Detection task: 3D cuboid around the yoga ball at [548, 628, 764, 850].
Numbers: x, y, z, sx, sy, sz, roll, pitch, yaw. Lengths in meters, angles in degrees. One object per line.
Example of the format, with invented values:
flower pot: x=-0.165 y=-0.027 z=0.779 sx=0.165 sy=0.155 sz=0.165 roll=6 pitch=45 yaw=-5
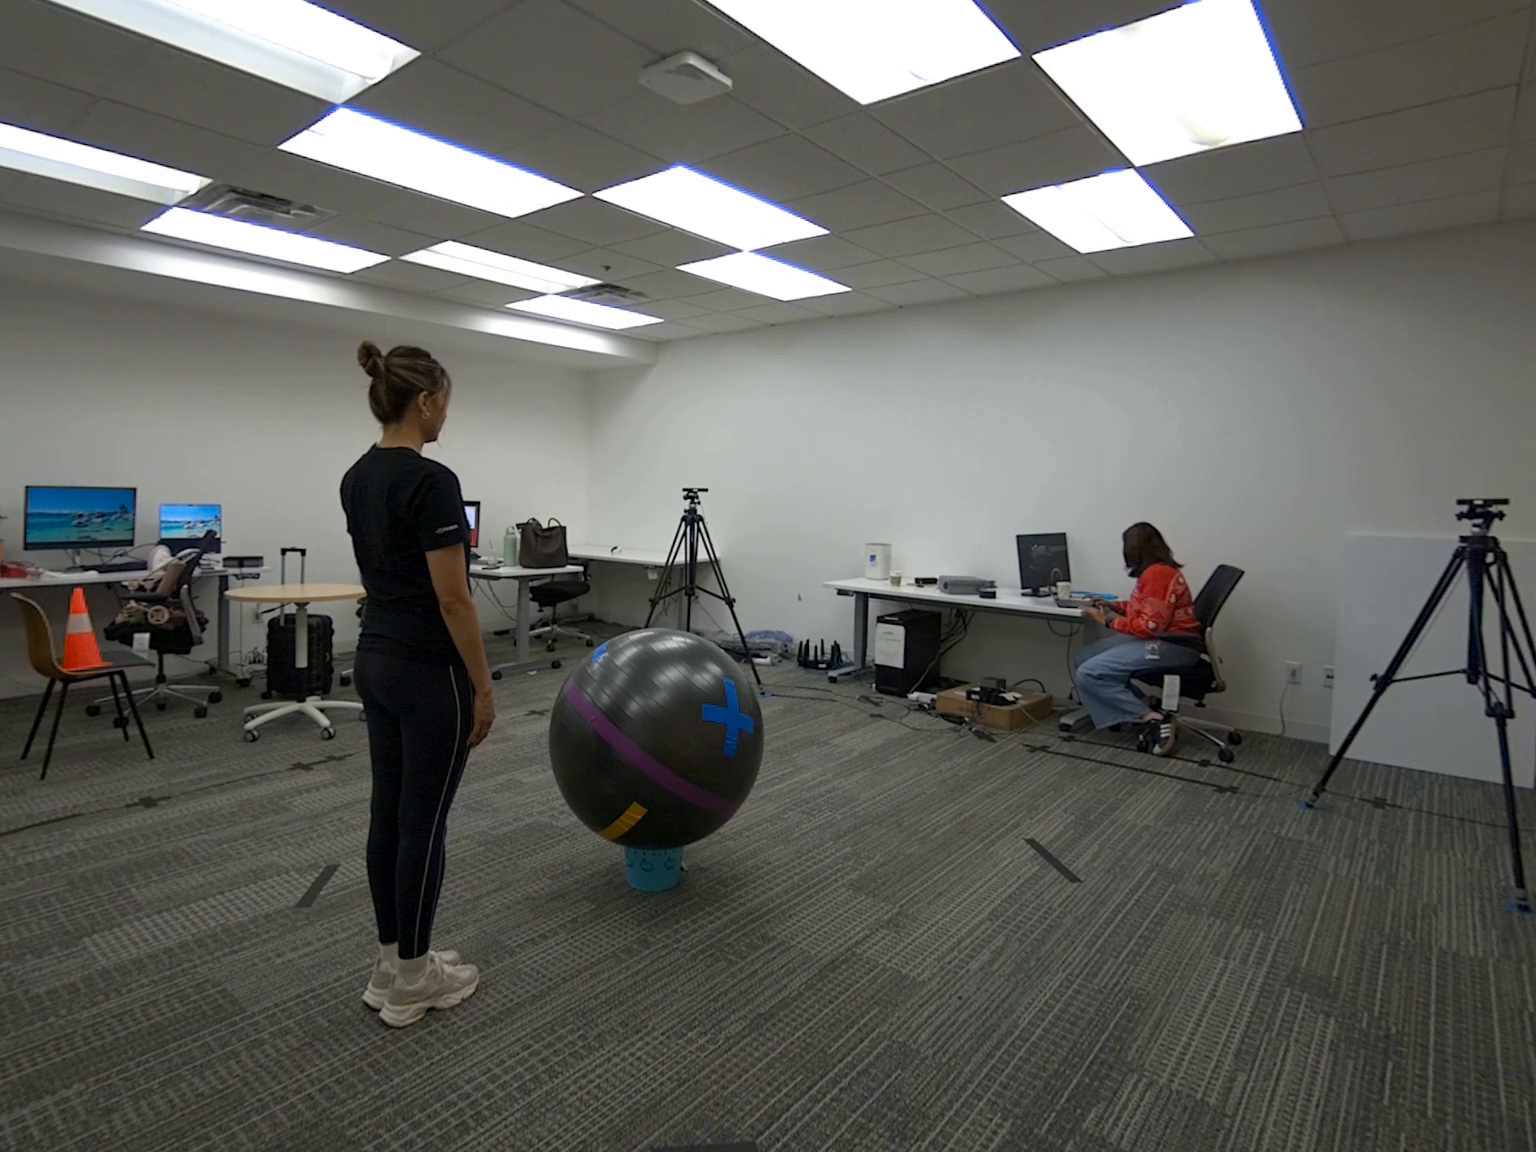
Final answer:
yoga ball: x=-0.399 y=0.565 z=3.001 sx=0.757 sy=0.755 sz=0.762 roll=1 pitch=4 yaw=-2
